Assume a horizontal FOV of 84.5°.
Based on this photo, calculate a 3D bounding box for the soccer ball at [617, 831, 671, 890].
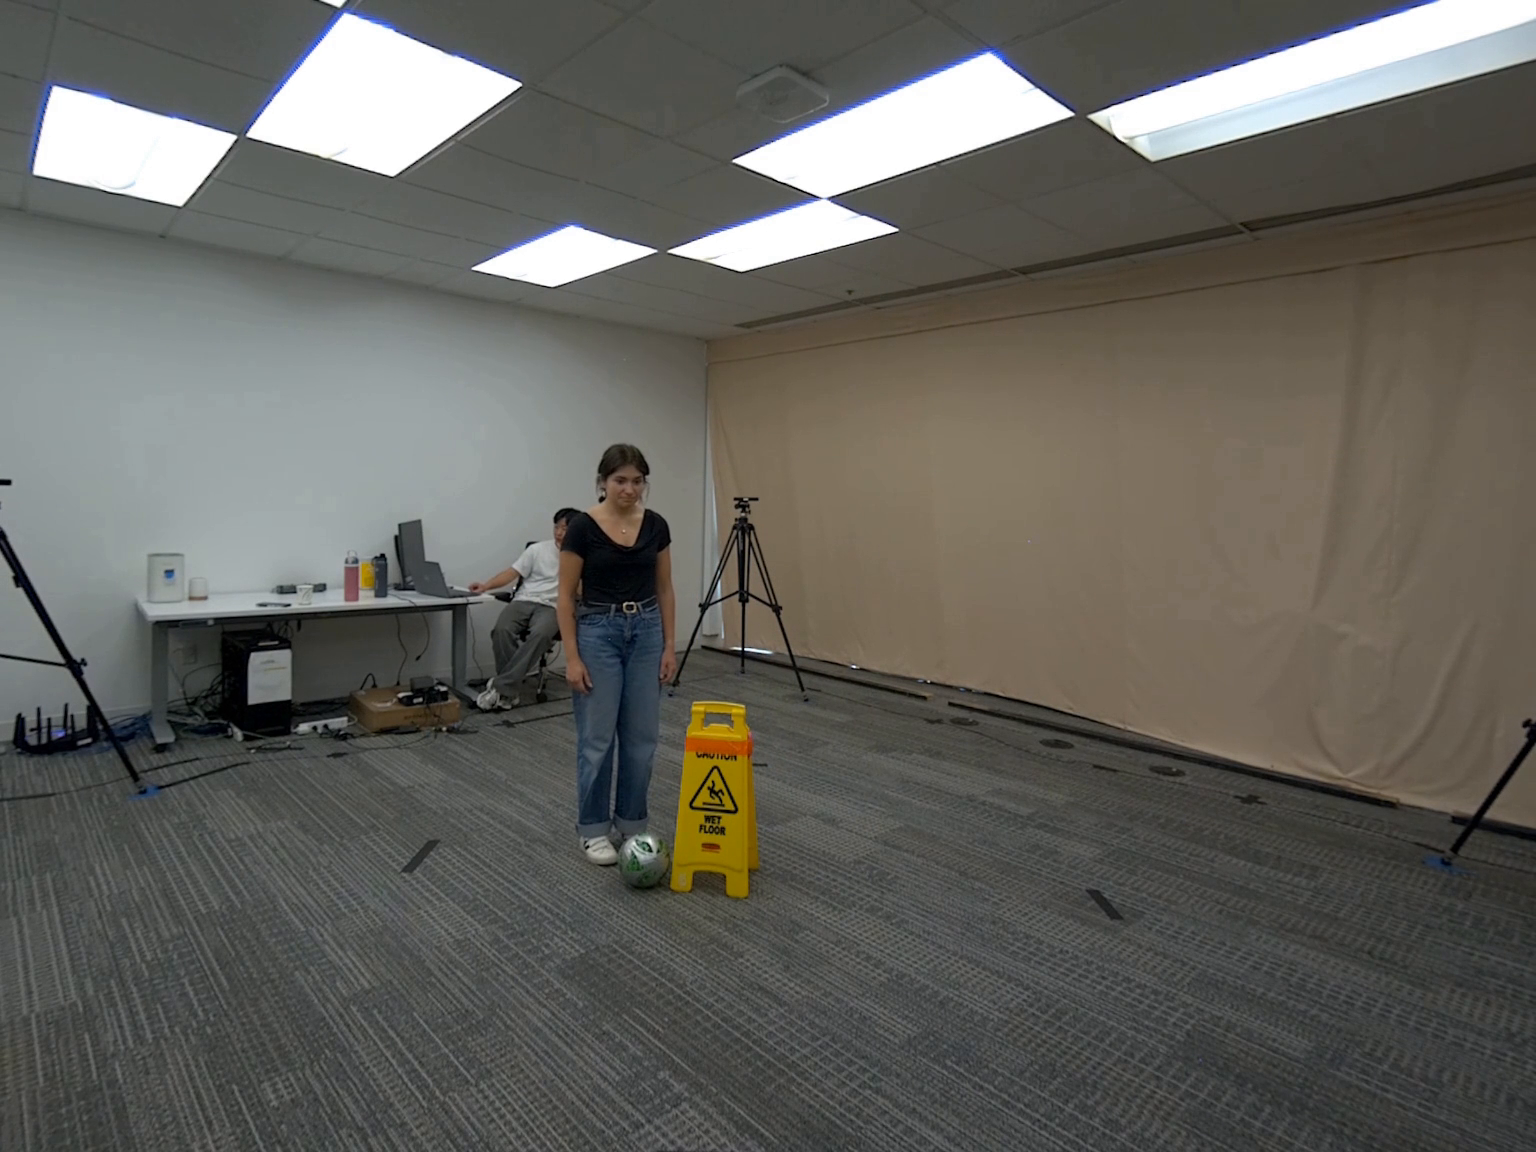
[{"bbox_3d":[-0.457,1.022,3.010,0.187,0.187,0.188,1,4,-1],"label":"soccer ball"}]
